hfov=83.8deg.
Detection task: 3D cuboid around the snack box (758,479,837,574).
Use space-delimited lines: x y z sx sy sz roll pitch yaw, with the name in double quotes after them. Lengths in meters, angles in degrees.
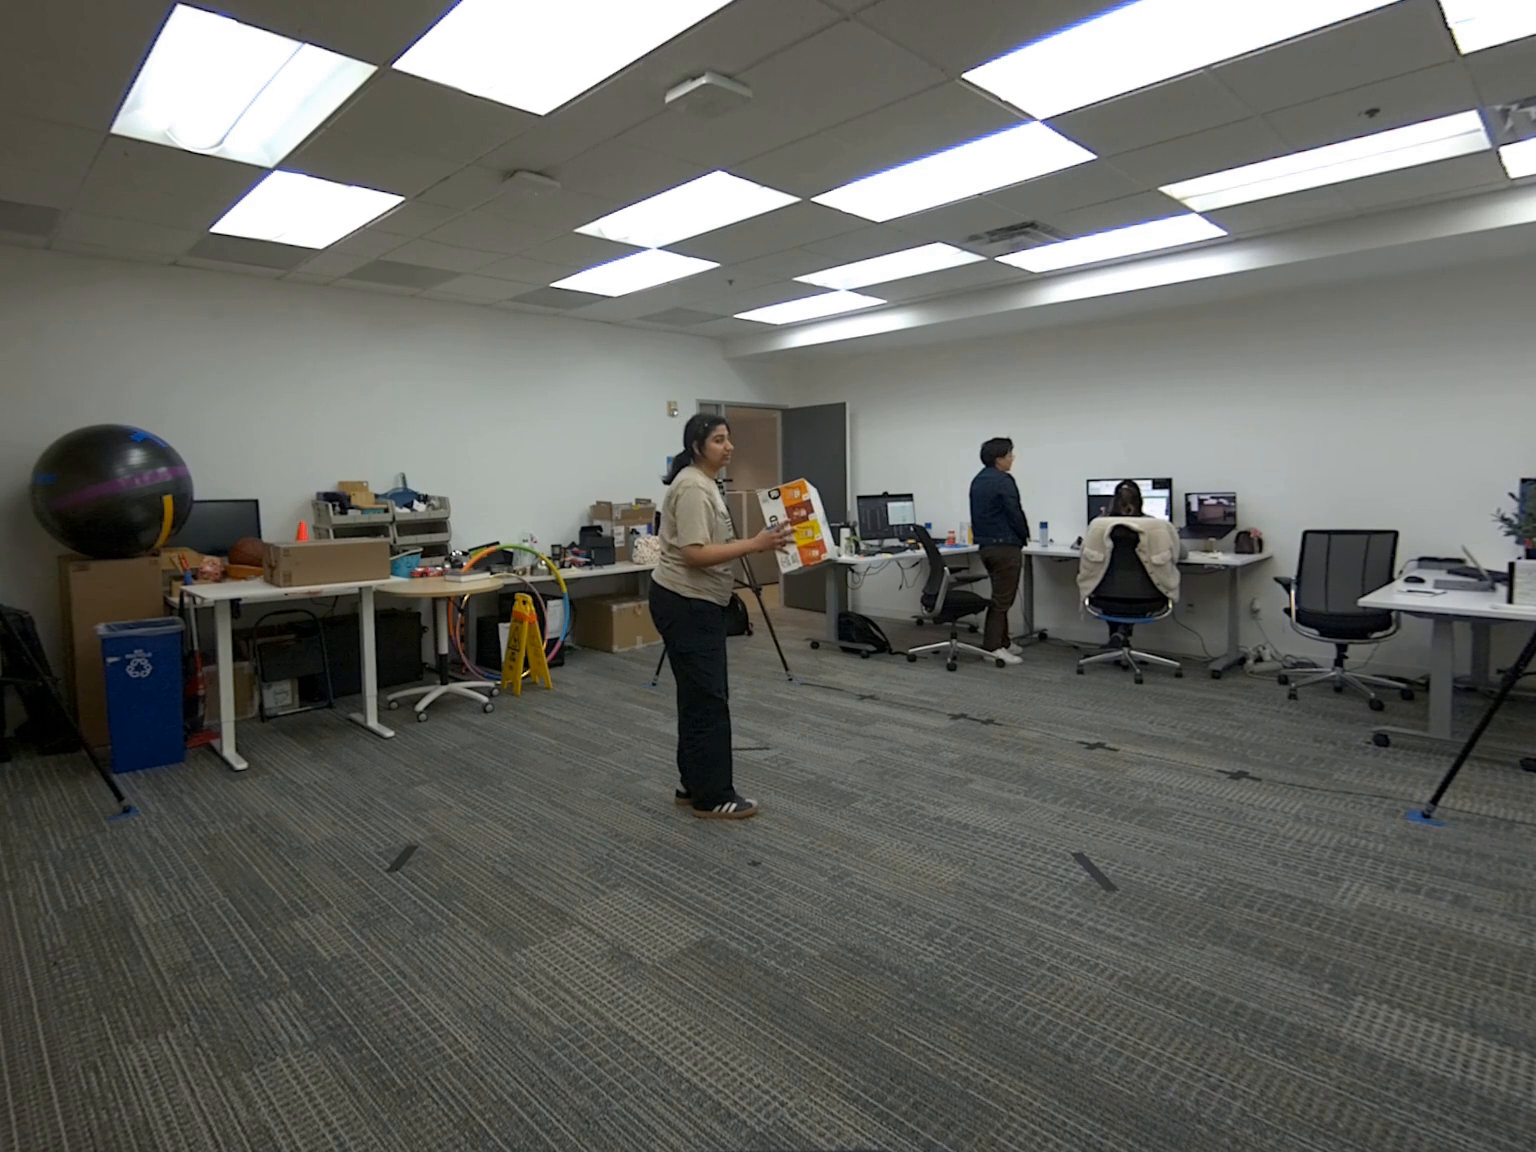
0.133 -0.201 3.615 0.207 0.343 0.399 -18 -5 11 "snack box"
